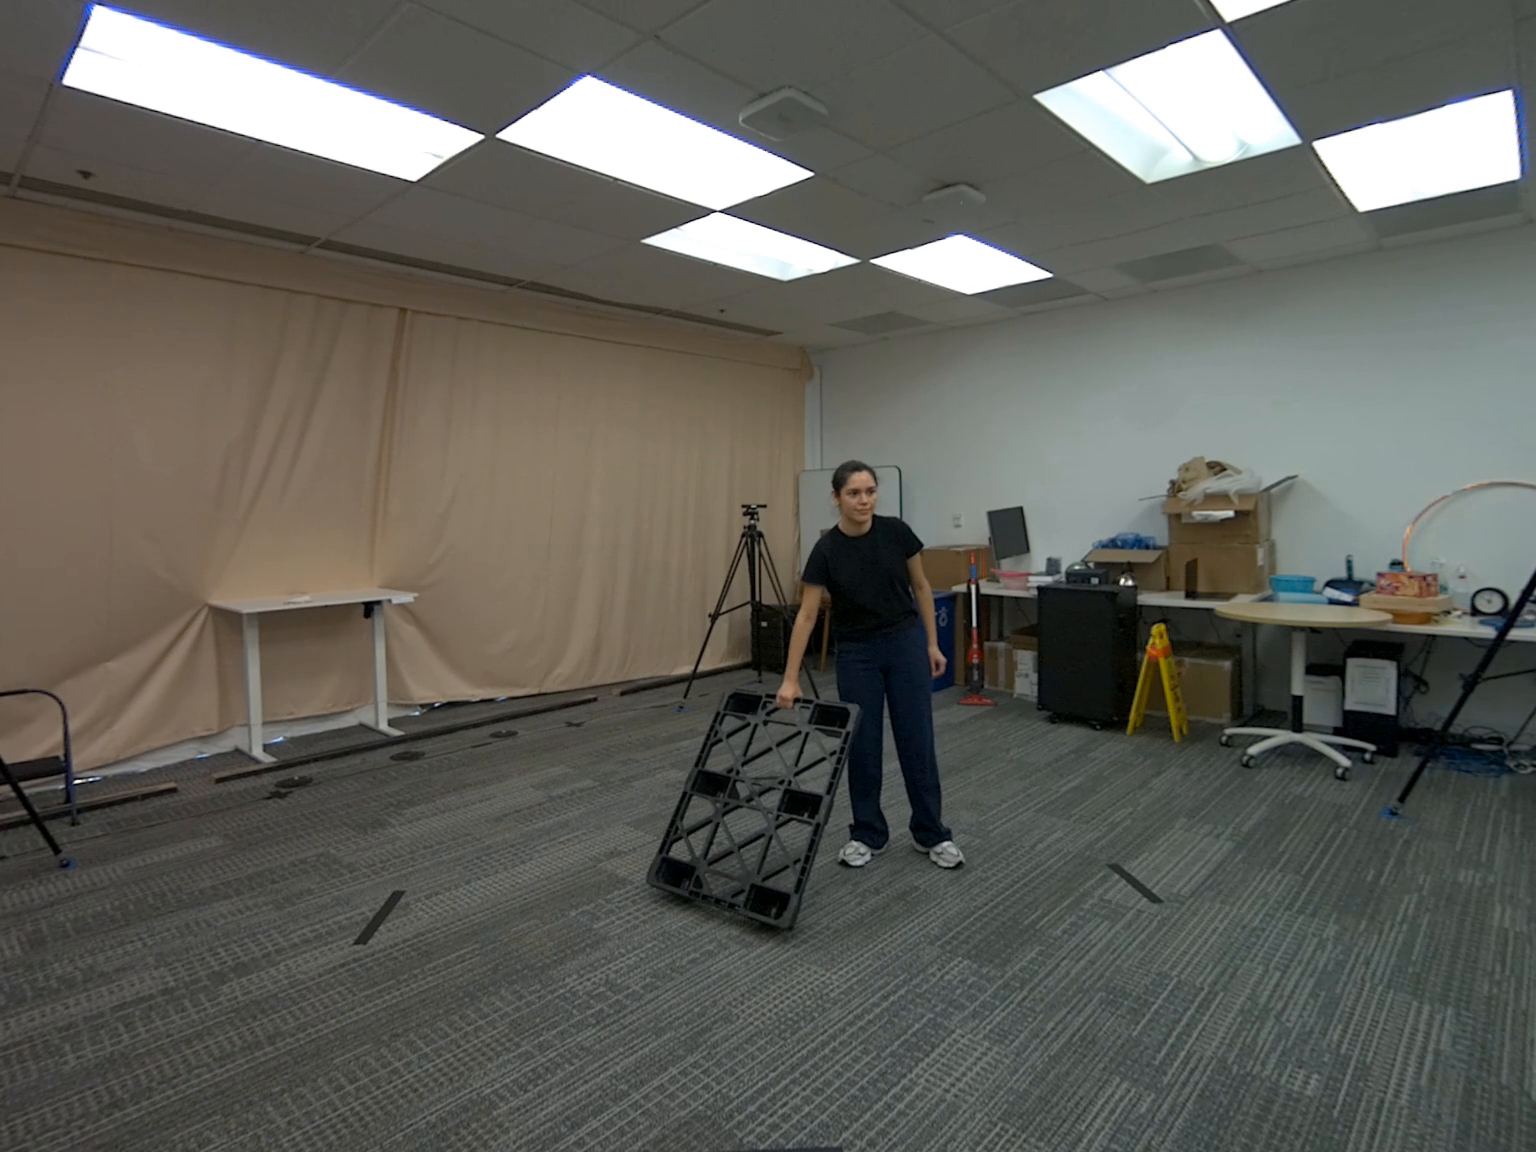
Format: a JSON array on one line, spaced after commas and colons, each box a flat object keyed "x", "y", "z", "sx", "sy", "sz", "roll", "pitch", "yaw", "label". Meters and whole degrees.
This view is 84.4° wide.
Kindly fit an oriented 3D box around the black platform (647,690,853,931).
[{"x": -0.003, "y": 0.809, "z": 3.050, "sx": 0.624, "sy": 0.808, "sz": 0.138, "roll": 2, "pitch": -35, "yaw": 34, "label": "black platform"}]
